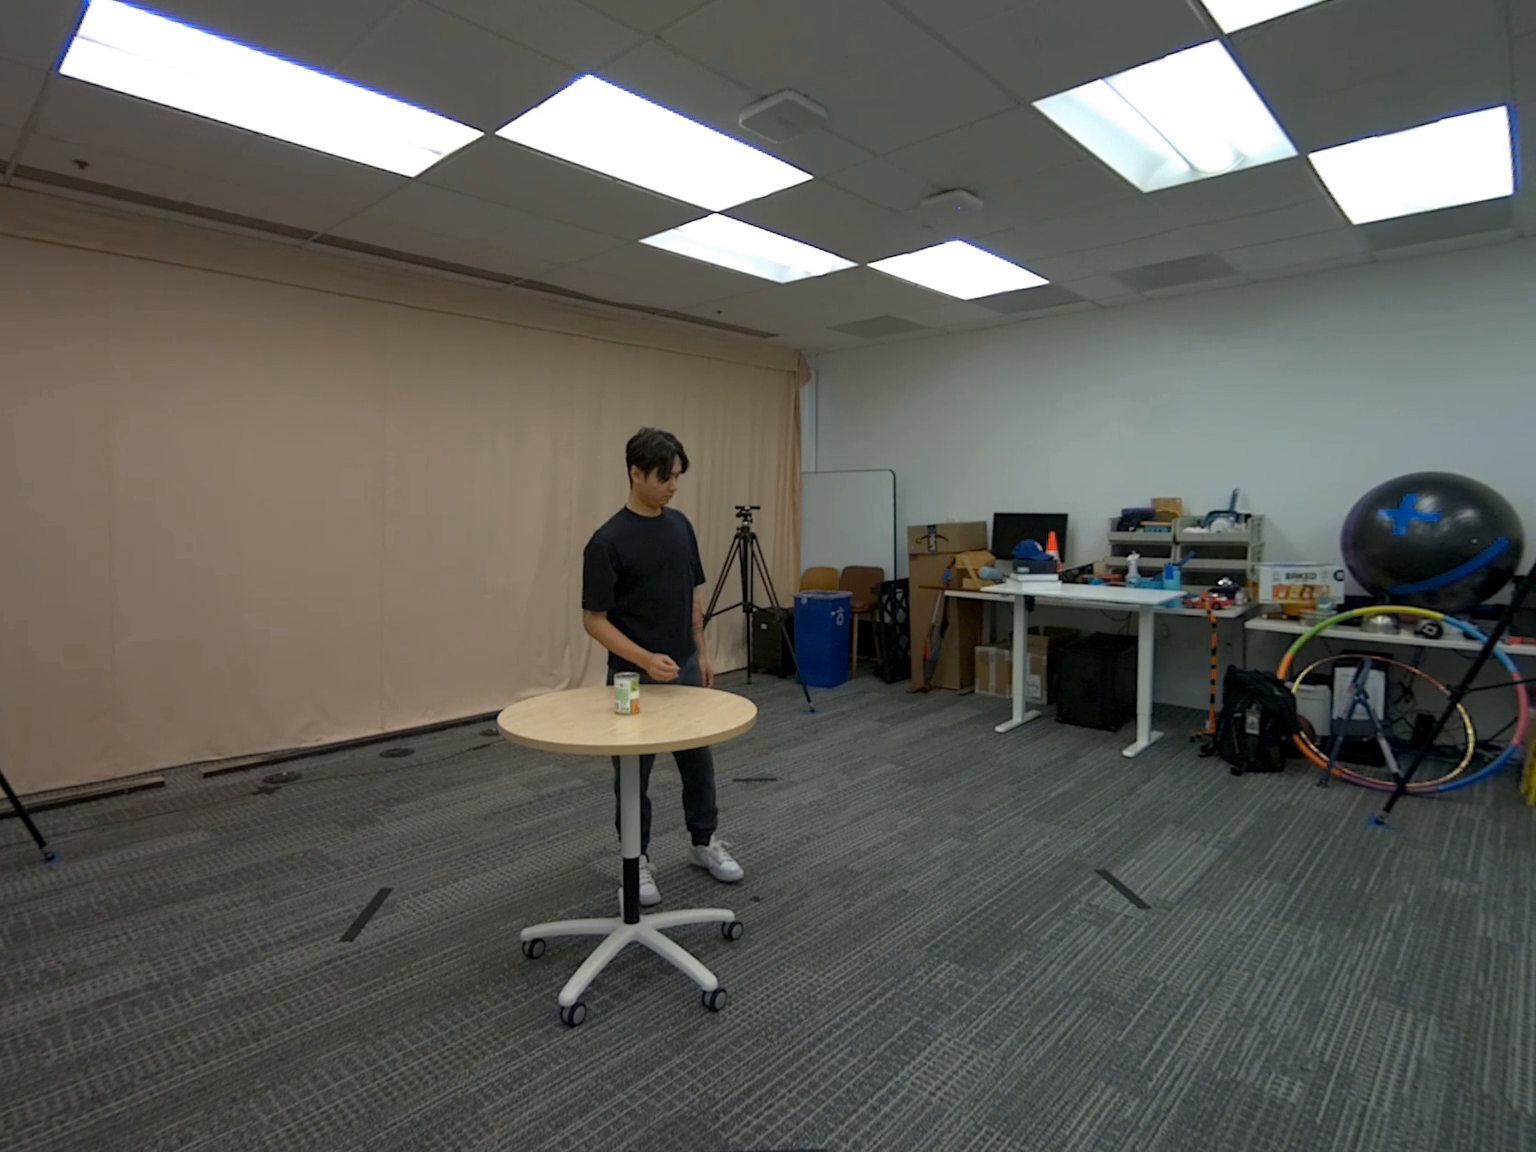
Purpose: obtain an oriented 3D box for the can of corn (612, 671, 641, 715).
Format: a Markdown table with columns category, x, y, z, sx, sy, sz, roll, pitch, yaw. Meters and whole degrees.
| category | x | y | z | sx | sy | sz | roll | pitch | yaw |
| --- | --- | --- | --- | --- | --- | --- | --- | --- | --- |
| can of corn | -0.416 | 0.346 | 2.500 | 0.074 | 0.111 | 0.074 | -4 | 4 | -2 |
